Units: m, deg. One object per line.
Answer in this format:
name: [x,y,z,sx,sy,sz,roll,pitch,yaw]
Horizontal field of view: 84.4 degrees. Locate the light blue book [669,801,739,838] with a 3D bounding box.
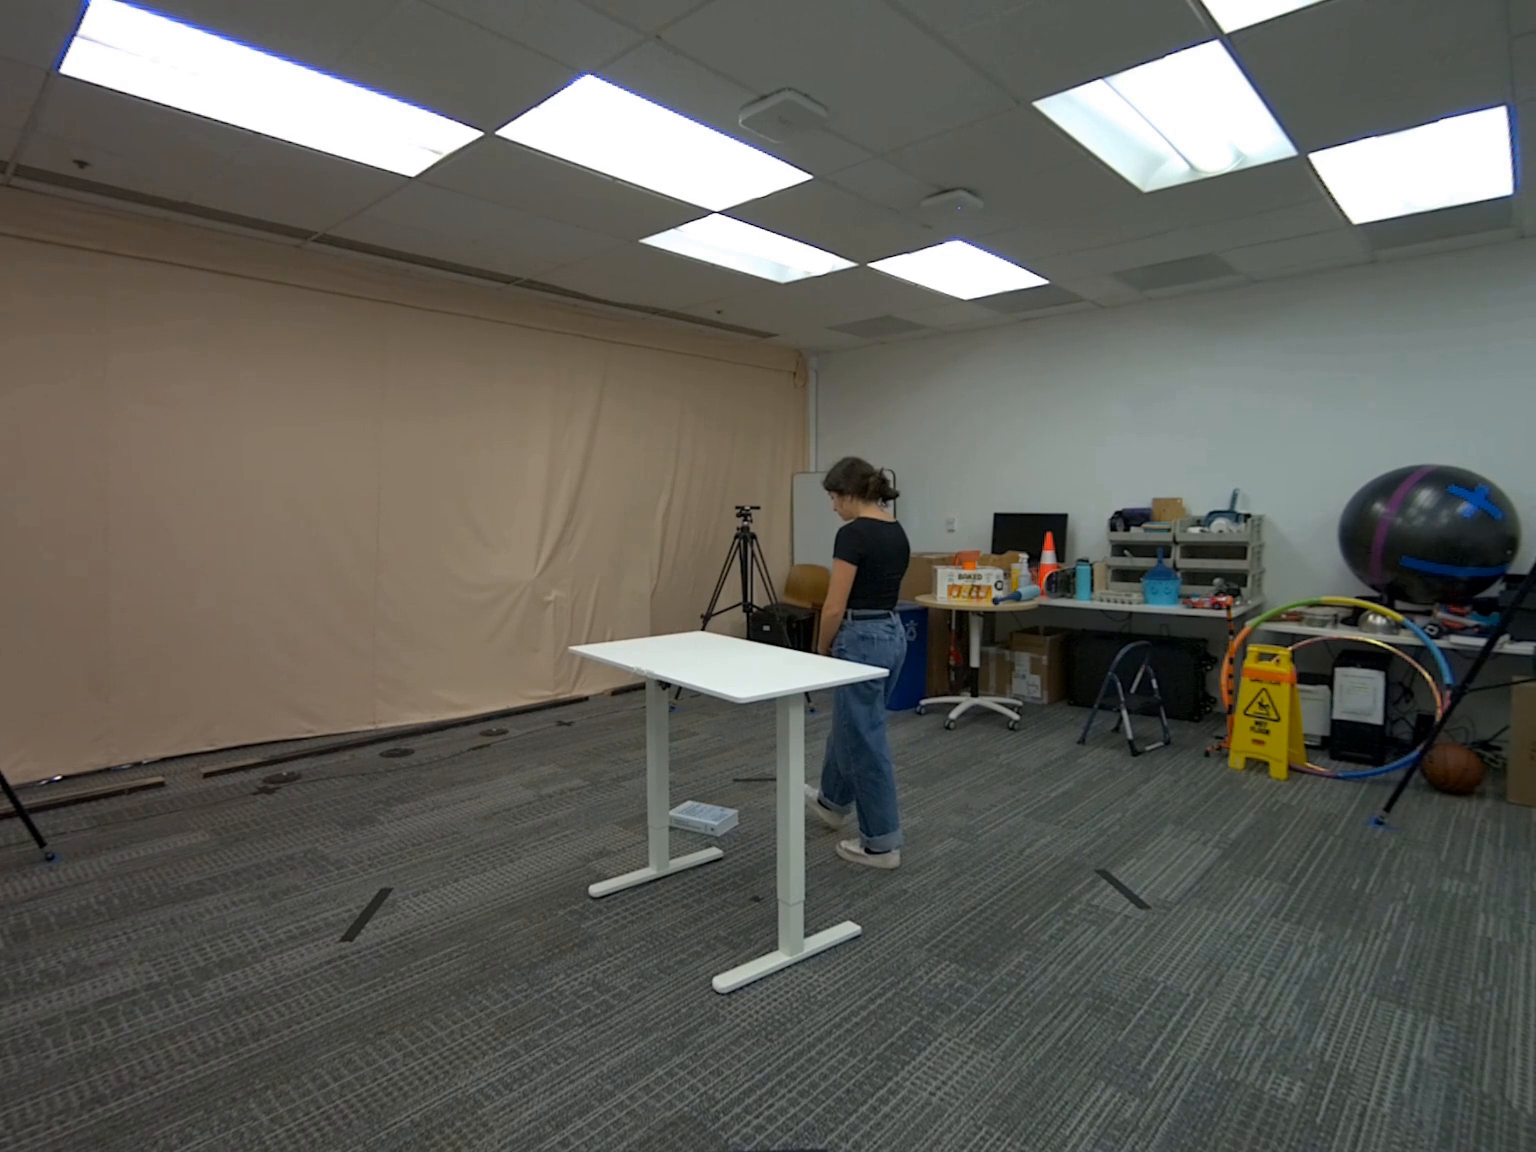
light blue book: [-0.285,1.059,3.683,0.268,0.059,0.186,2,5,30]
